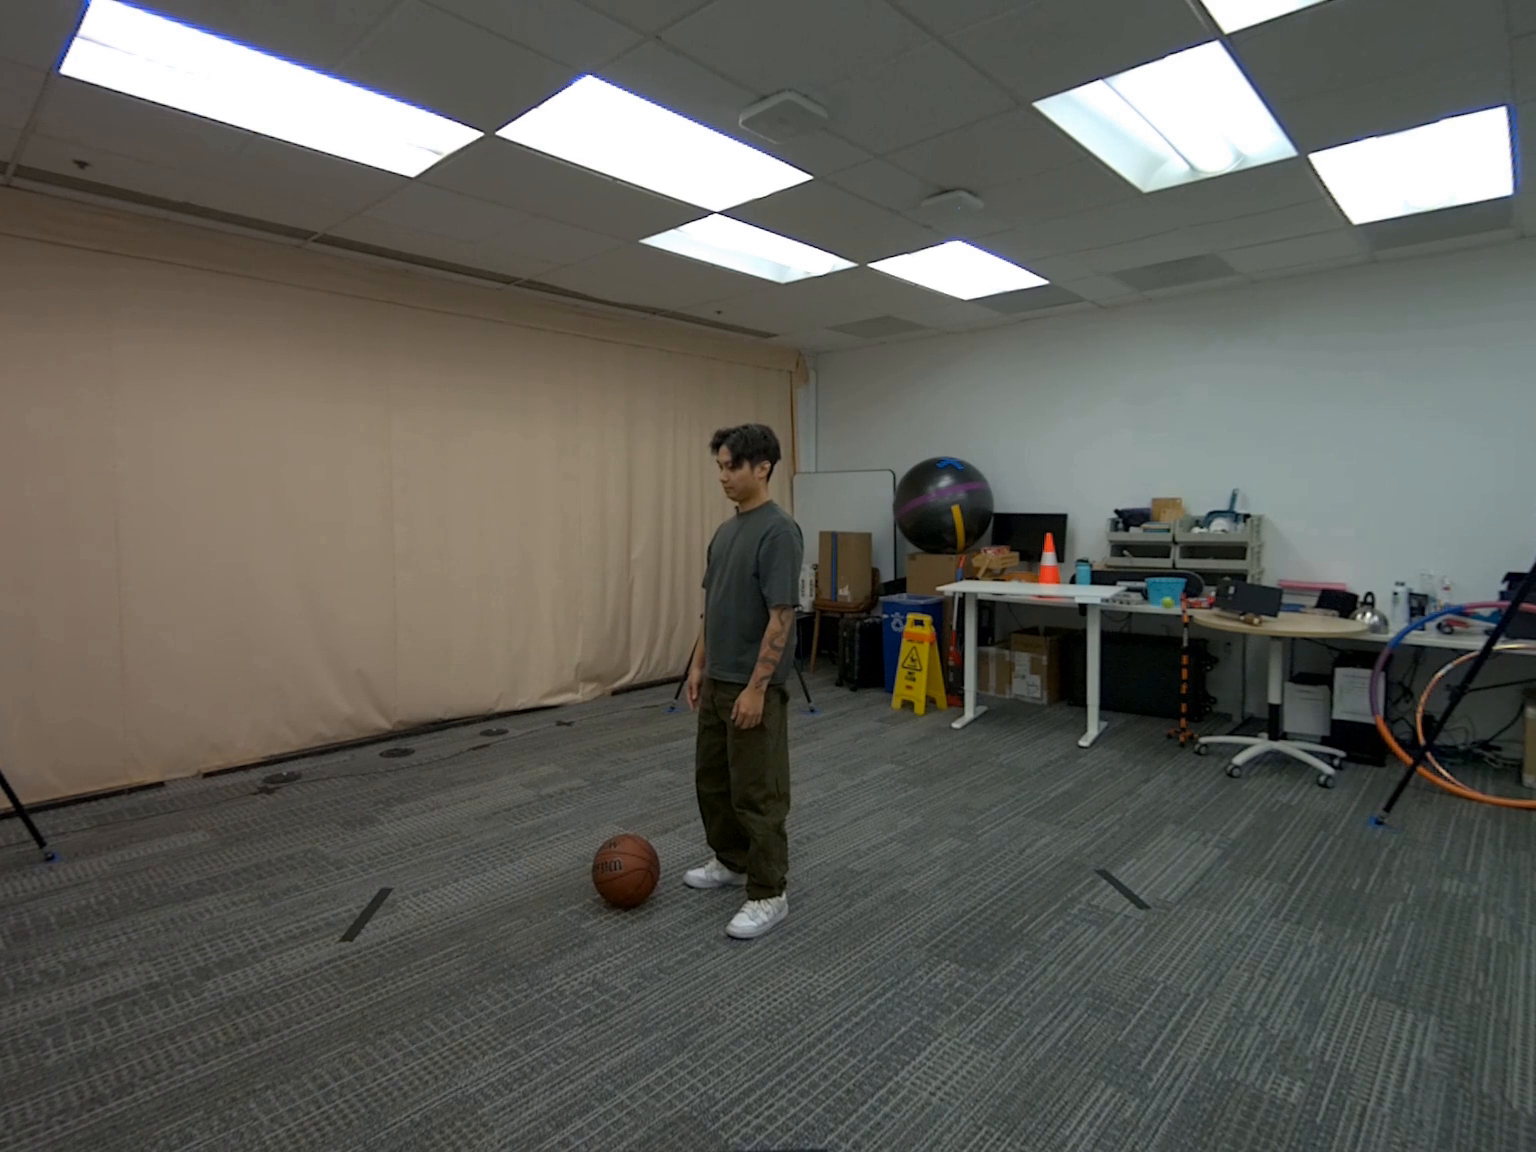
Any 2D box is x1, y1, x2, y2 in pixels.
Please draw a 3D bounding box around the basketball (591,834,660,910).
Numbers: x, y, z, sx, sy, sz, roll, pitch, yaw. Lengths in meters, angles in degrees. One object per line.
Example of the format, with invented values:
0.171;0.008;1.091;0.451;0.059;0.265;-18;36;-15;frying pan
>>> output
-0.502;1.034;2.958;0.236;0.235;0.237;0;4;-2;basketball
